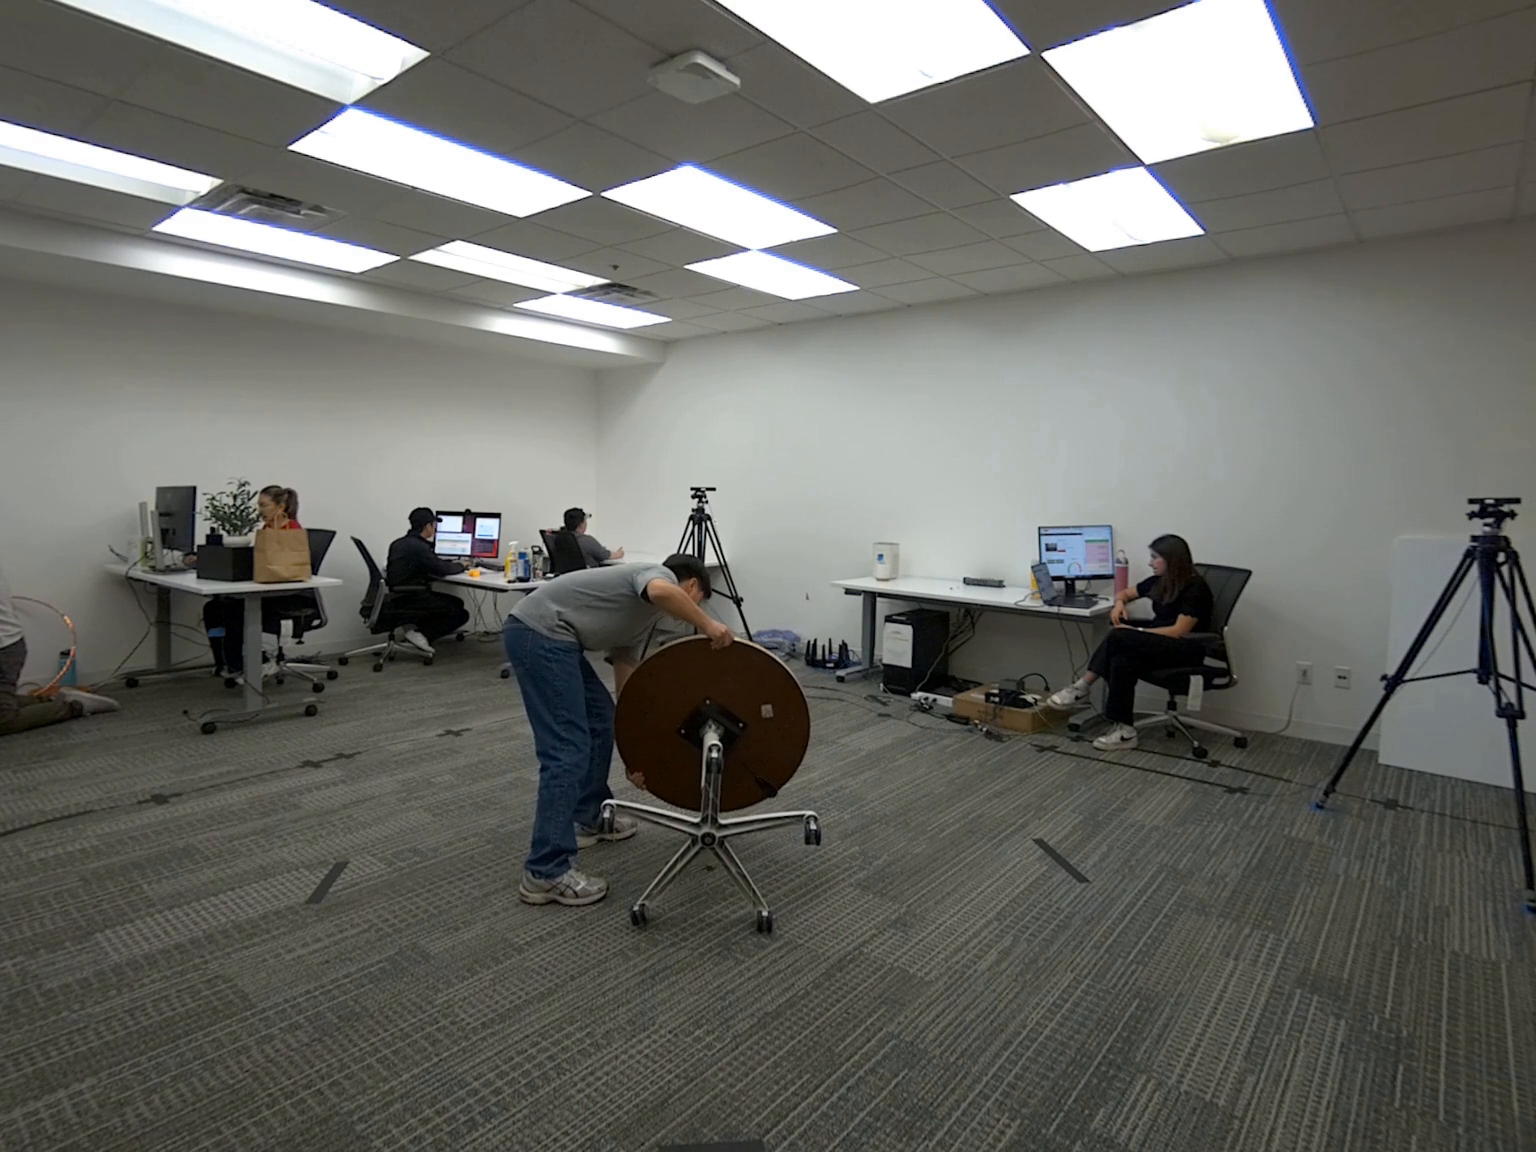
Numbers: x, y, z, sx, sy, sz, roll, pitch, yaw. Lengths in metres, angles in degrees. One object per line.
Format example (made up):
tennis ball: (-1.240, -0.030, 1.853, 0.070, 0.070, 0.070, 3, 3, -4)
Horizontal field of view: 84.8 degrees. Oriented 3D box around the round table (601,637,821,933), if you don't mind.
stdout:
round table: (-0.204, 0.721, 2.945, 0.763, 0.751, 0.808, 1, 19, -2)
